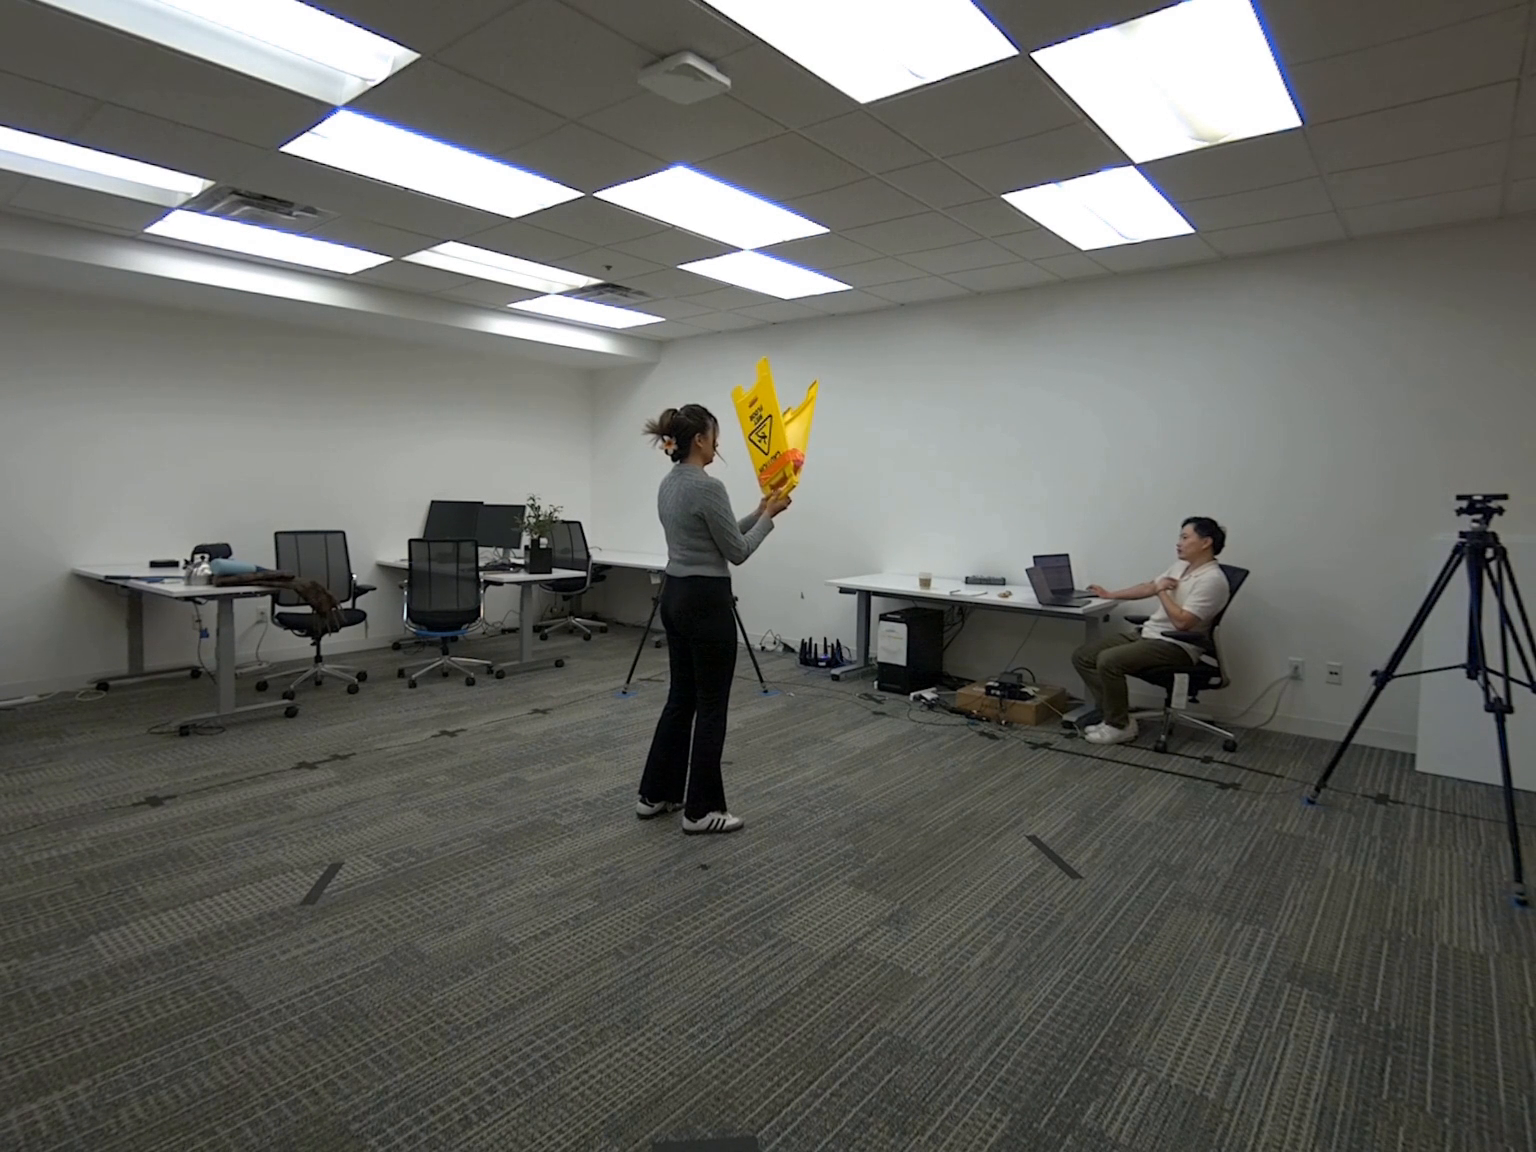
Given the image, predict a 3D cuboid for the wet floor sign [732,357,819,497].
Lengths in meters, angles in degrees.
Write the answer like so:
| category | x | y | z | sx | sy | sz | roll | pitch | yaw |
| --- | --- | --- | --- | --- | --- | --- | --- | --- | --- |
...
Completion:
| category | x | y | z | sx | sy | sz | roll | pitch | yaw |
| --- | --- | --- | --- | --- | --- | --- | --- | --- | --- |
| wet floor sign | 0.039 | -0.603 | 3.734 | 0.280 | 0.664 | 0.283 | 17 | -38 | -29 |
